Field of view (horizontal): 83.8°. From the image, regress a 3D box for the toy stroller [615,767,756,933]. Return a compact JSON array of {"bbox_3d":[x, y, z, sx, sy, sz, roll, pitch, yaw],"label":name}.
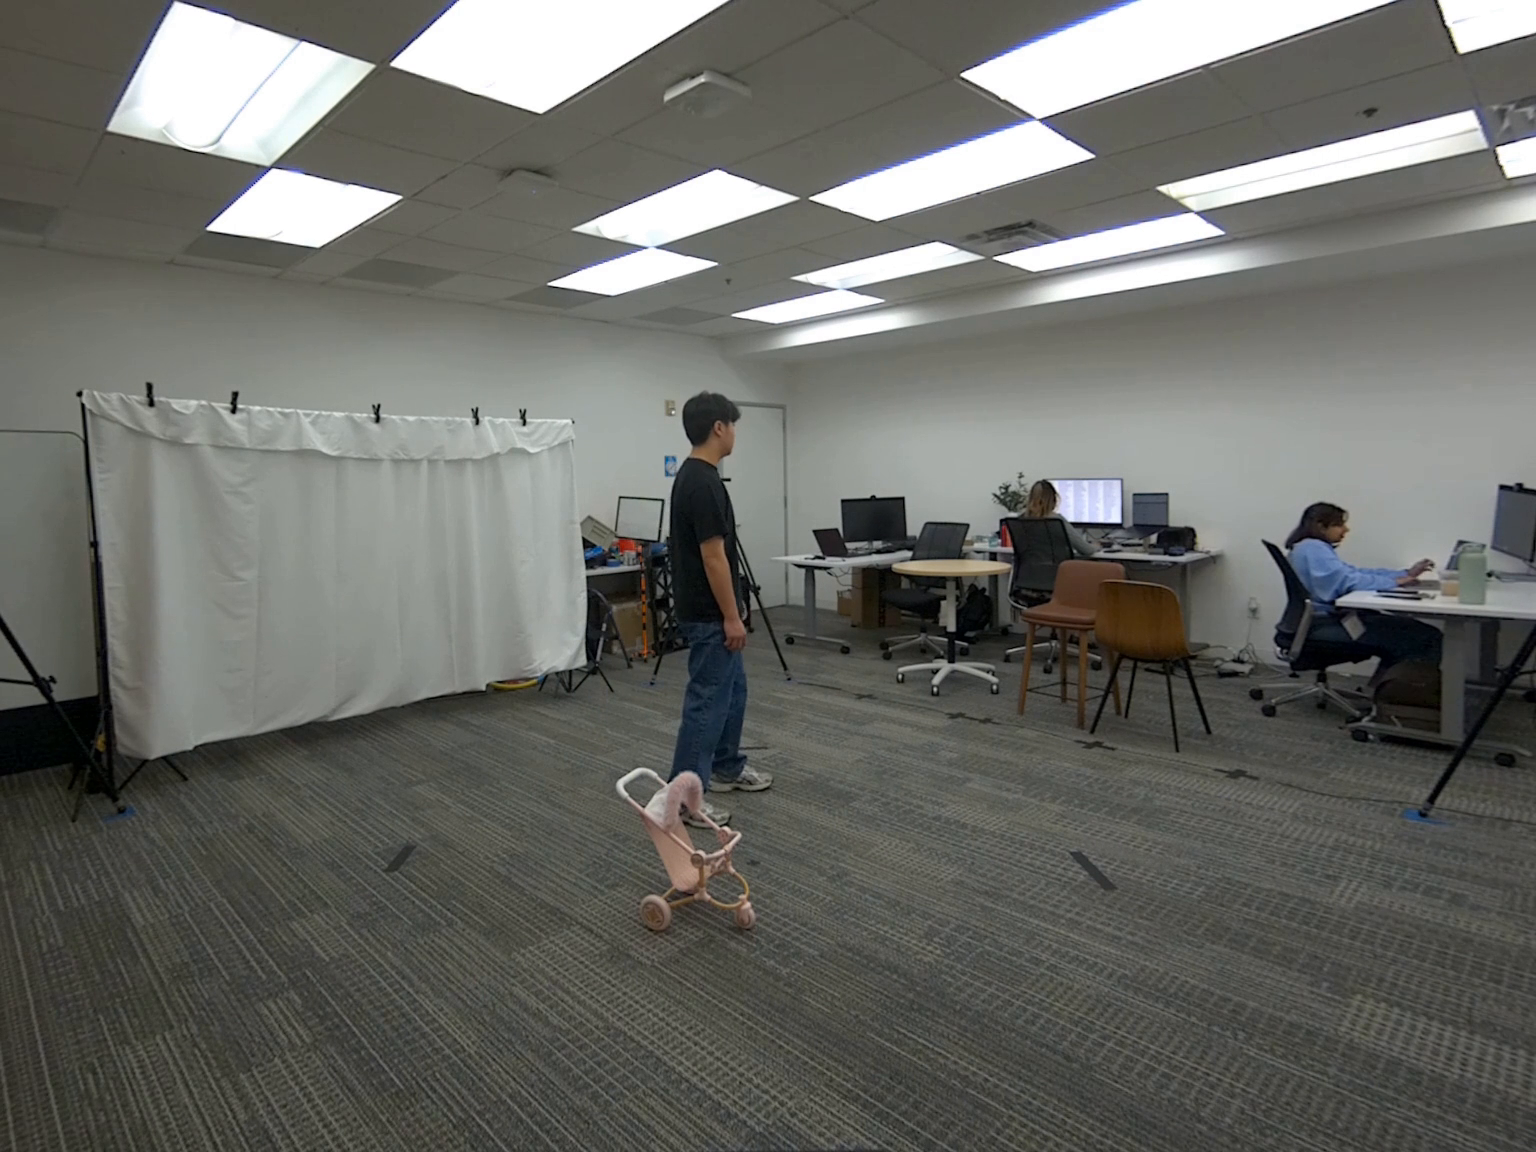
[{"bbox_3d":[-0.249,0.869,2.726,0.347,0.537,0.275,-18,-4,29],"label":"toy stroller"}]
